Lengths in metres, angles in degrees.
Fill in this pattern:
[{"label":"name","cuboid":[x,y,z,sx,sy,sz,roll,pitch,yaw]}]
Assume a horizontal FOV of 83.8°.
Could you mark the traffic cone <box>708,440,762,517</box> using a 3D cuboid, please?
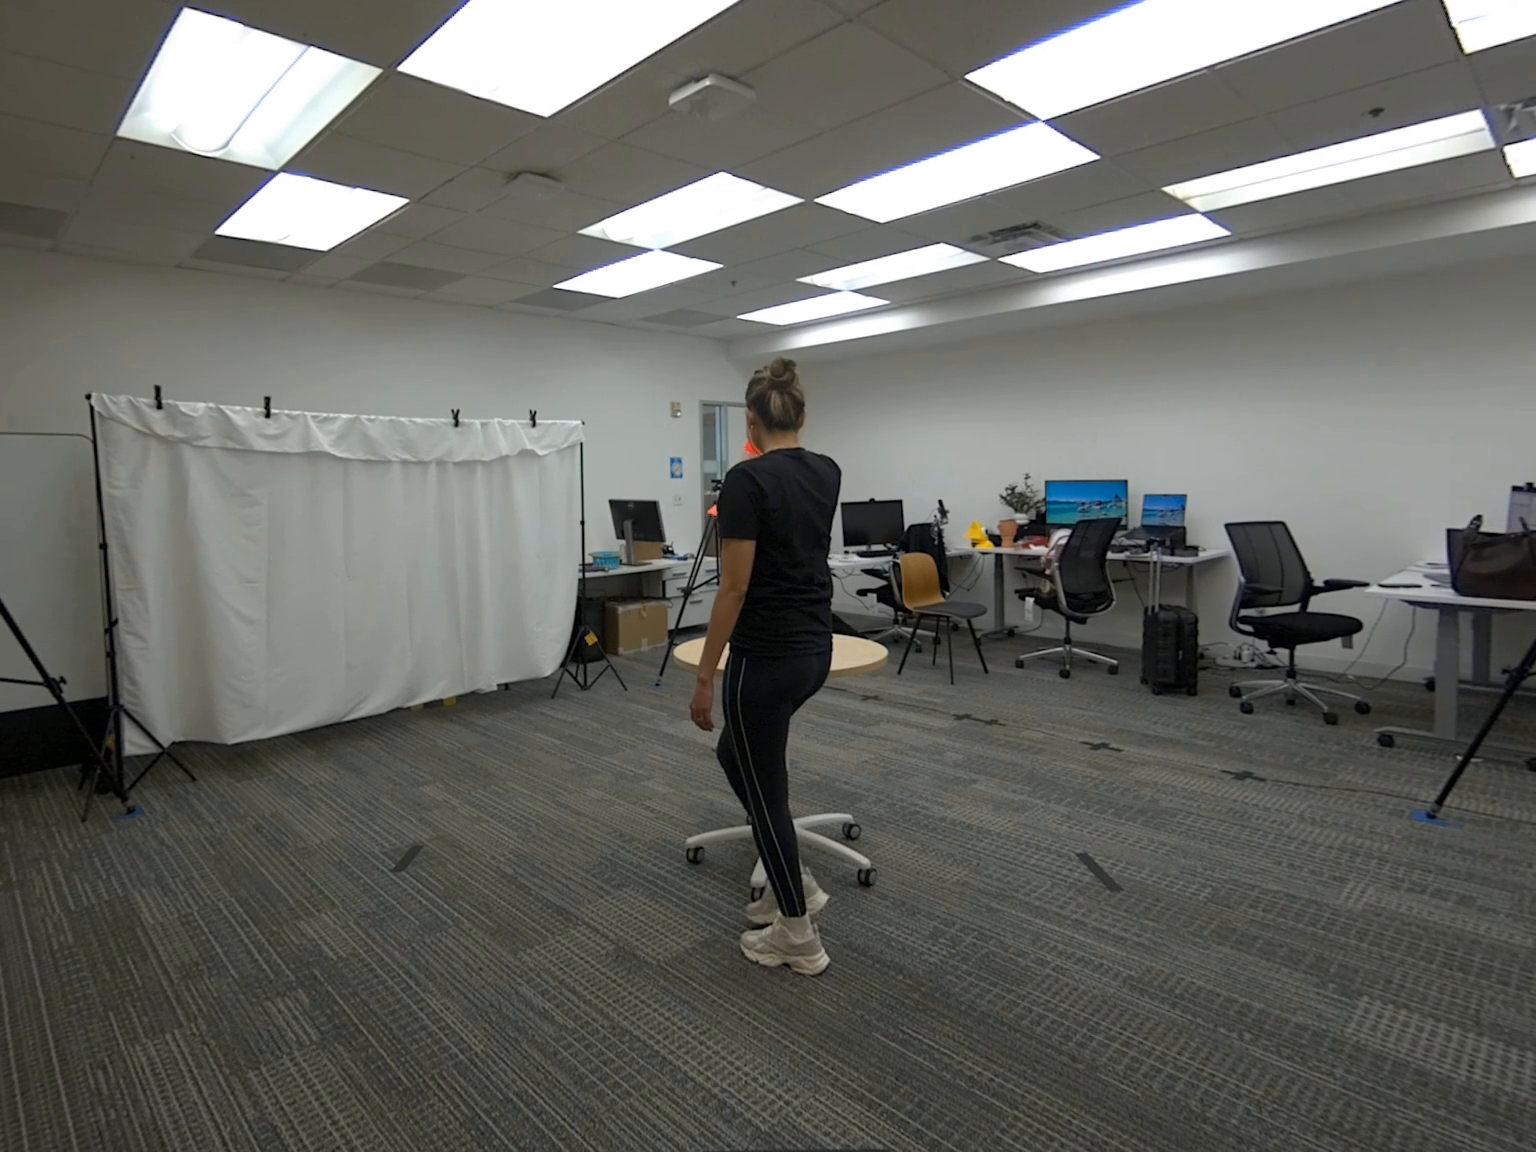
[{"label":"traffic cone","cuboid":[-0.053,-0.388,3.126,0.210,0.377,0.202,23,30,18]}]
